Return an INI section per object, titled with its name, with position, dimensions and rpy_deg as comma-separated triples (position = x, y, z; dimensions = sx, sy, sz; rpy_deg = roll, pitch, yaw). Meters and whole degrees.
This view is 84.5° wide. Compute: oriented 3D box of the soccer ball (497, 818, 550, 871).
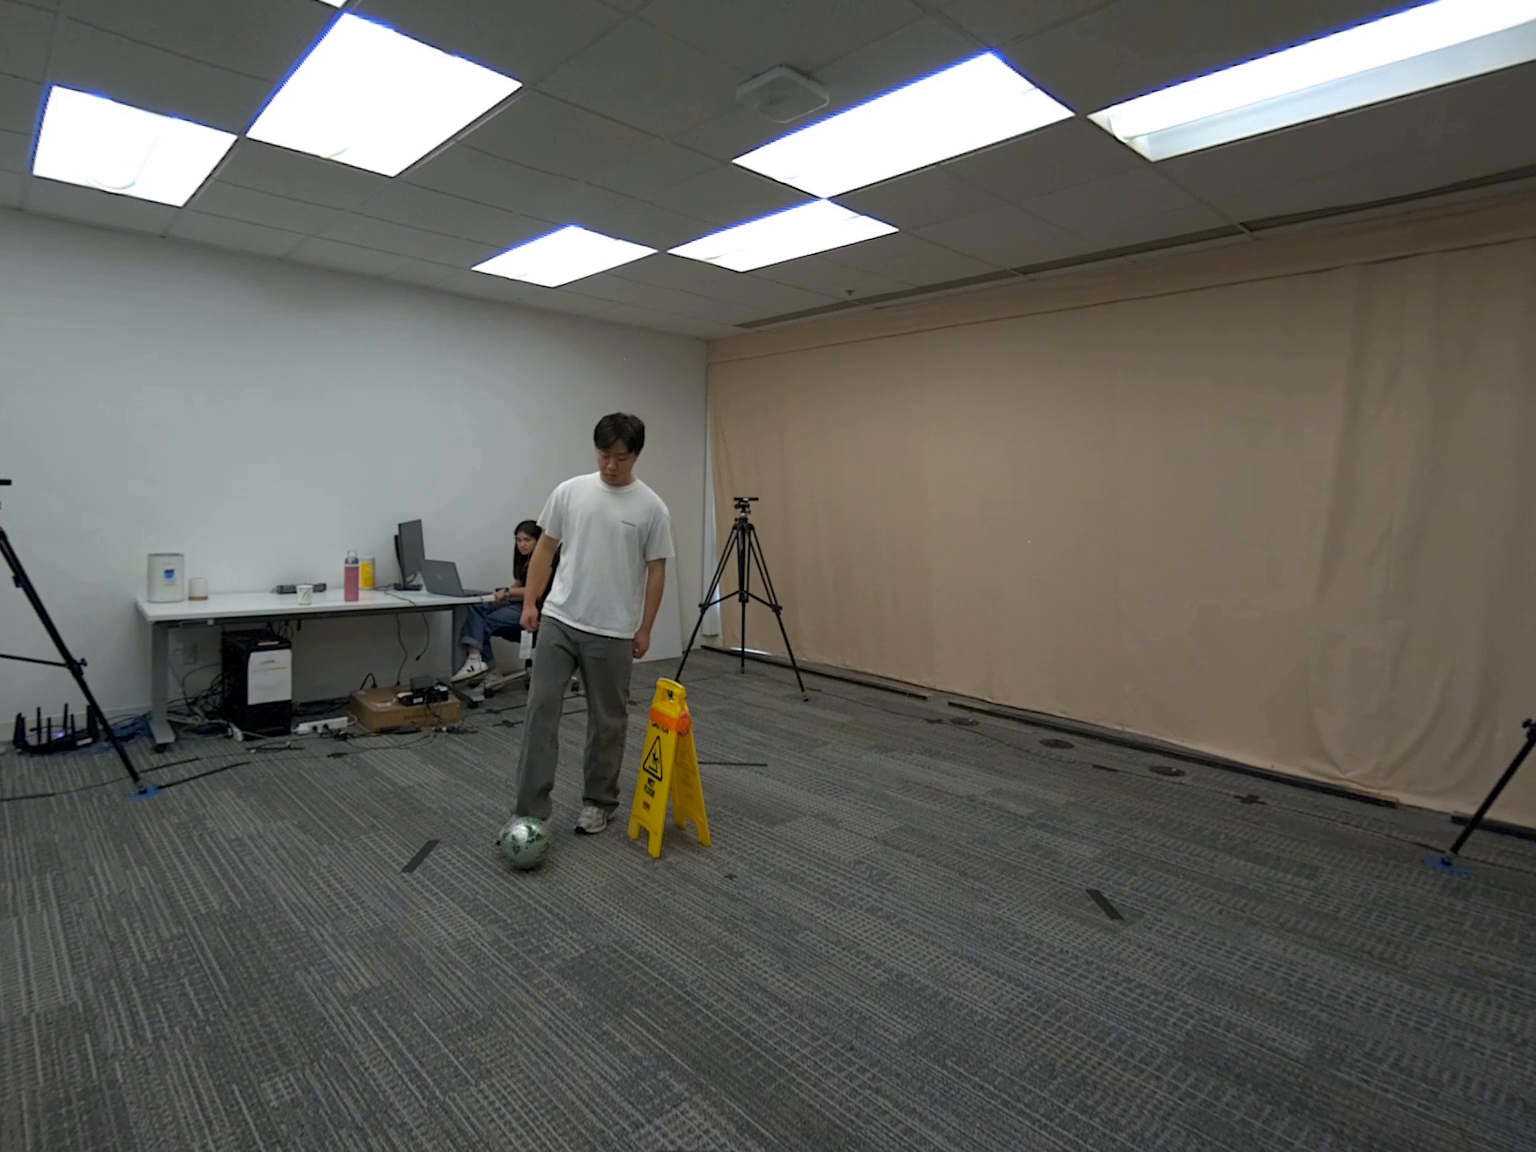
[soccer ball]
position = -0.906, 1.001, 3.125
dimensions = 0.187, 0.187, 0.188
rpy_deg = 1, 4, -1
